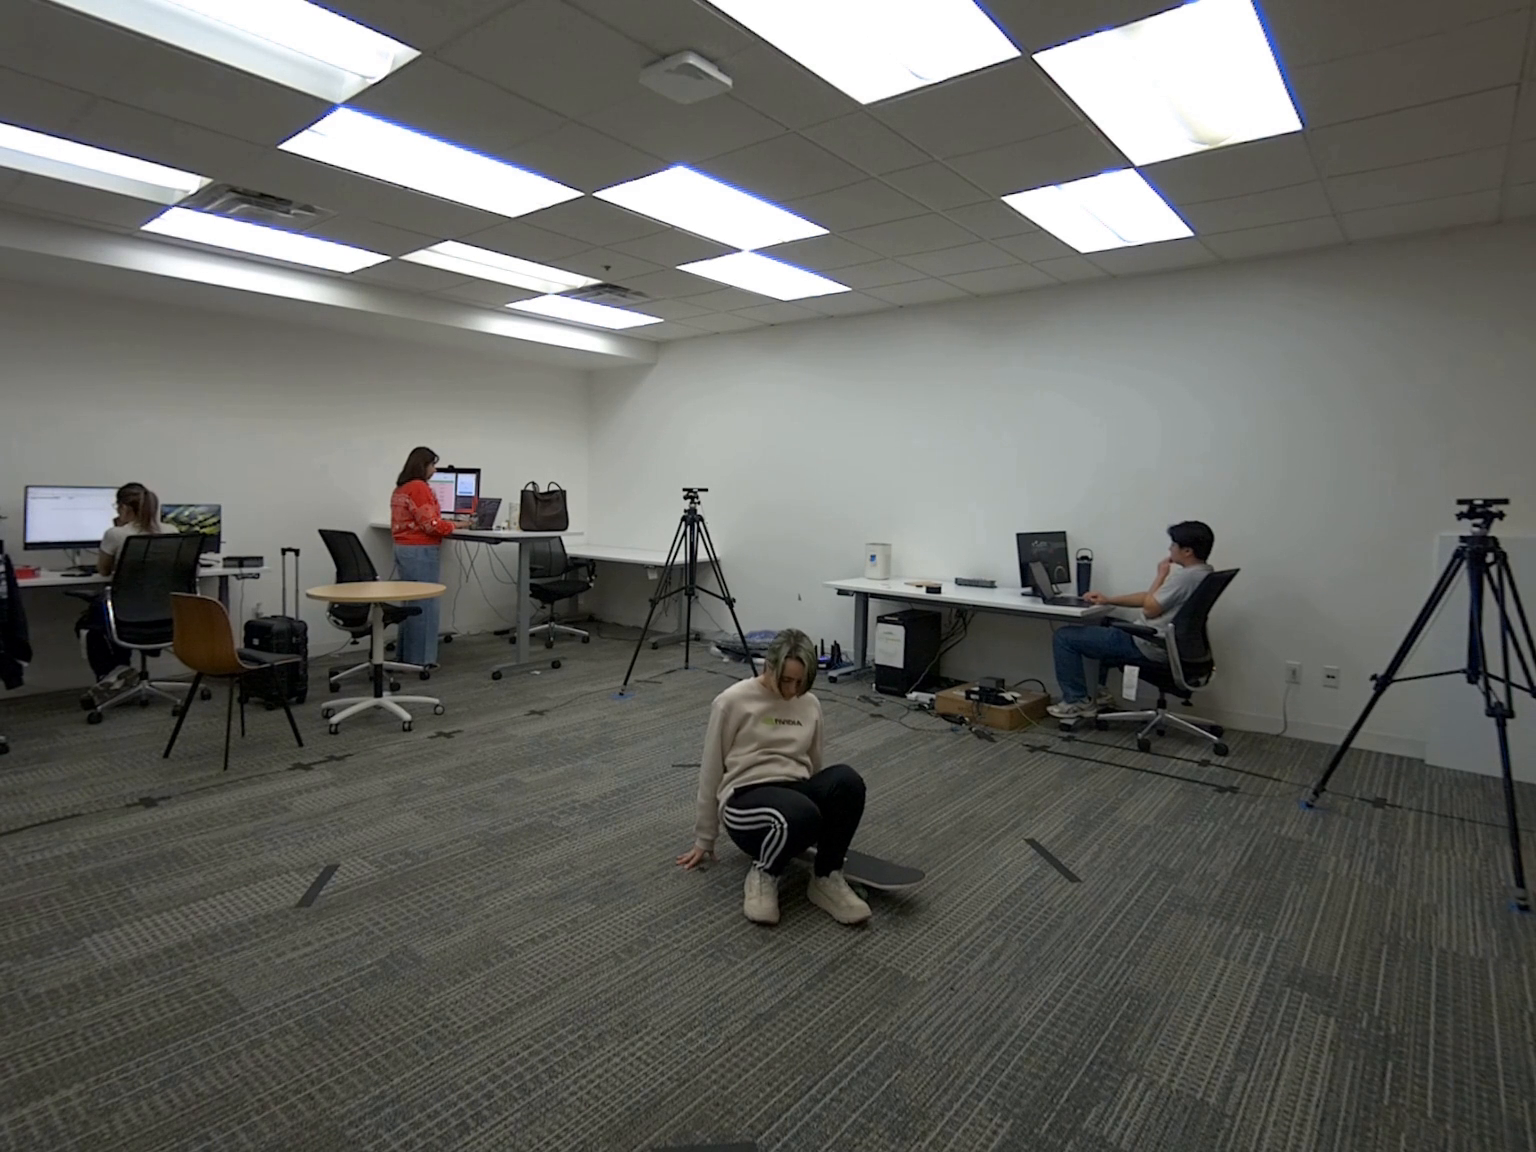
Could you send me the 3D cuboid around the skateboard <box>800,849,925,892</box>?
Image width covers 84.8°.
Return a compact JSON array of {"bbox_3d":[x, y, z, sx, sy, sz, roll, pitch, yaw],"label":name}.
[{"bbox_3d":[0.184,1.027,3.058,0.812,0.110,0.188,5,6,38],"label":"skateboard"}]
